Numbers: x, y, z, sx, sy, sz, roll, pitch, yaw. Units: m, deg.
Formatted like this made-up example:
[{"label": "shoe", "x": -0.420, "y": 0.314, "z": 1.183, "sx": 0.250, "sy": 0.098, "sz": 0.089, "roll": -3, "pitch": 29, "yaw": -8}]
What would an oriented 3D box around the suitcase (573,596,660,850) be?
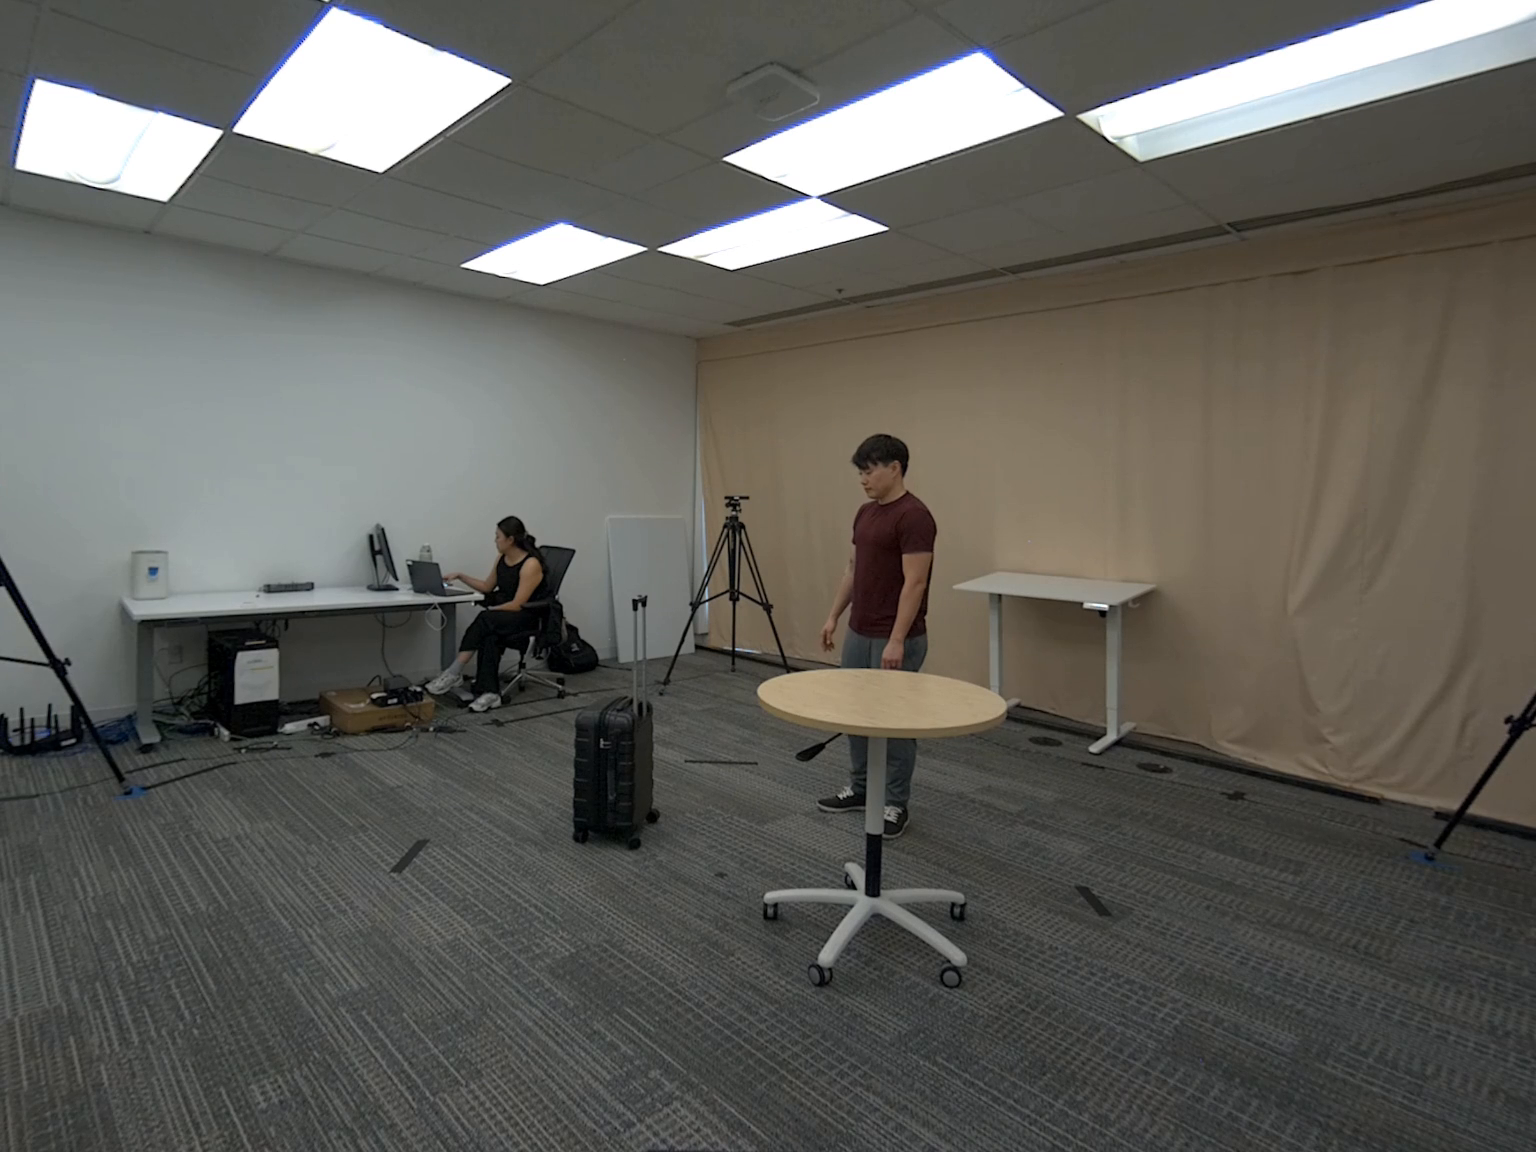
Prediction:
[{"label": "suitcase", "x": -0.641, "y": 0.581, "z": 3.456, "sx": 0.258, "sy": 0.976, "sz": 0.382, "roll": 0, "pitch": 3, "yaw": 6}]
